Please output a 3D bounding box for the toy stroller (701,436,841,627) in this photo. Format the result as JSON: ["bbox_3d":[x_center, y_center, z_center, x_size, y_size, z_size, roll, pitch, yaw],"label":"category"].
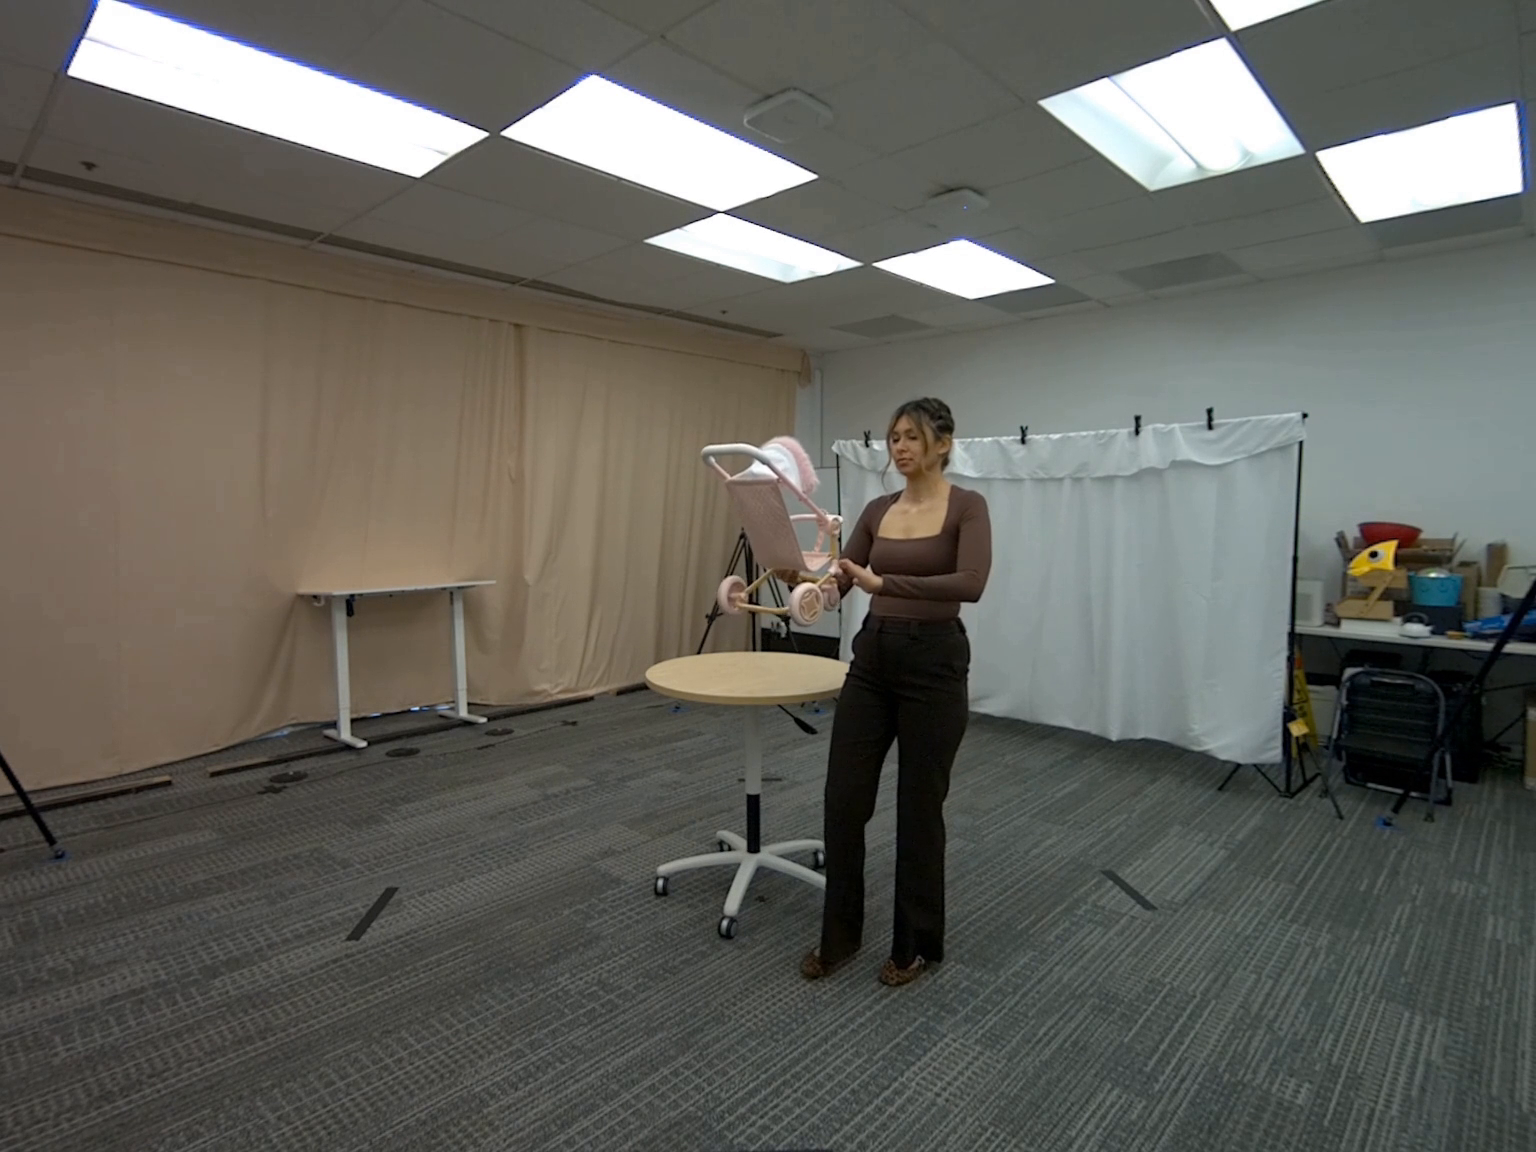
[{"bbox_3d":[0.051,-0.115,2.178,0.334,0.529,0.291,-23,19,-39],"label":"toy stroller"}]
